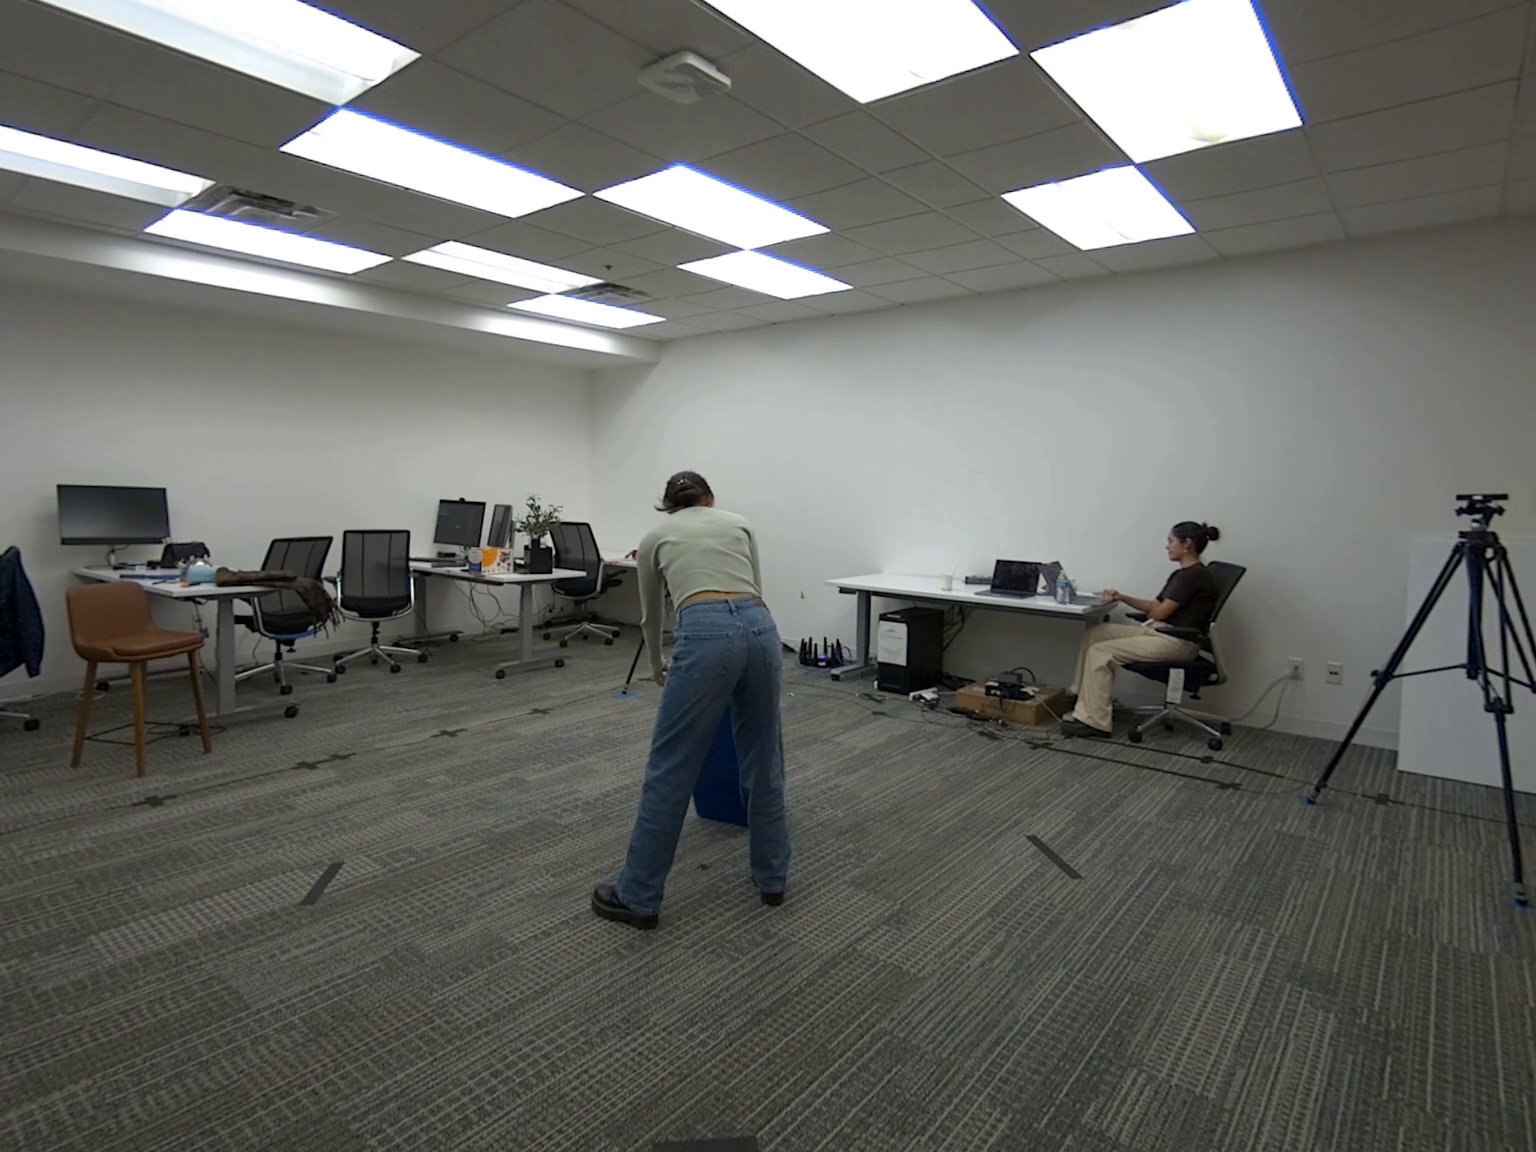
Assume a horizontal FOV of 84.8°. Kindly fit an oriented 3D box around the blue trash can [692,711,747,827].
[{"bbox_3d":[-0.165,0.638,3.494,0.388,0.697,0.373,5,25,24],"label":"blue trash can"}]
